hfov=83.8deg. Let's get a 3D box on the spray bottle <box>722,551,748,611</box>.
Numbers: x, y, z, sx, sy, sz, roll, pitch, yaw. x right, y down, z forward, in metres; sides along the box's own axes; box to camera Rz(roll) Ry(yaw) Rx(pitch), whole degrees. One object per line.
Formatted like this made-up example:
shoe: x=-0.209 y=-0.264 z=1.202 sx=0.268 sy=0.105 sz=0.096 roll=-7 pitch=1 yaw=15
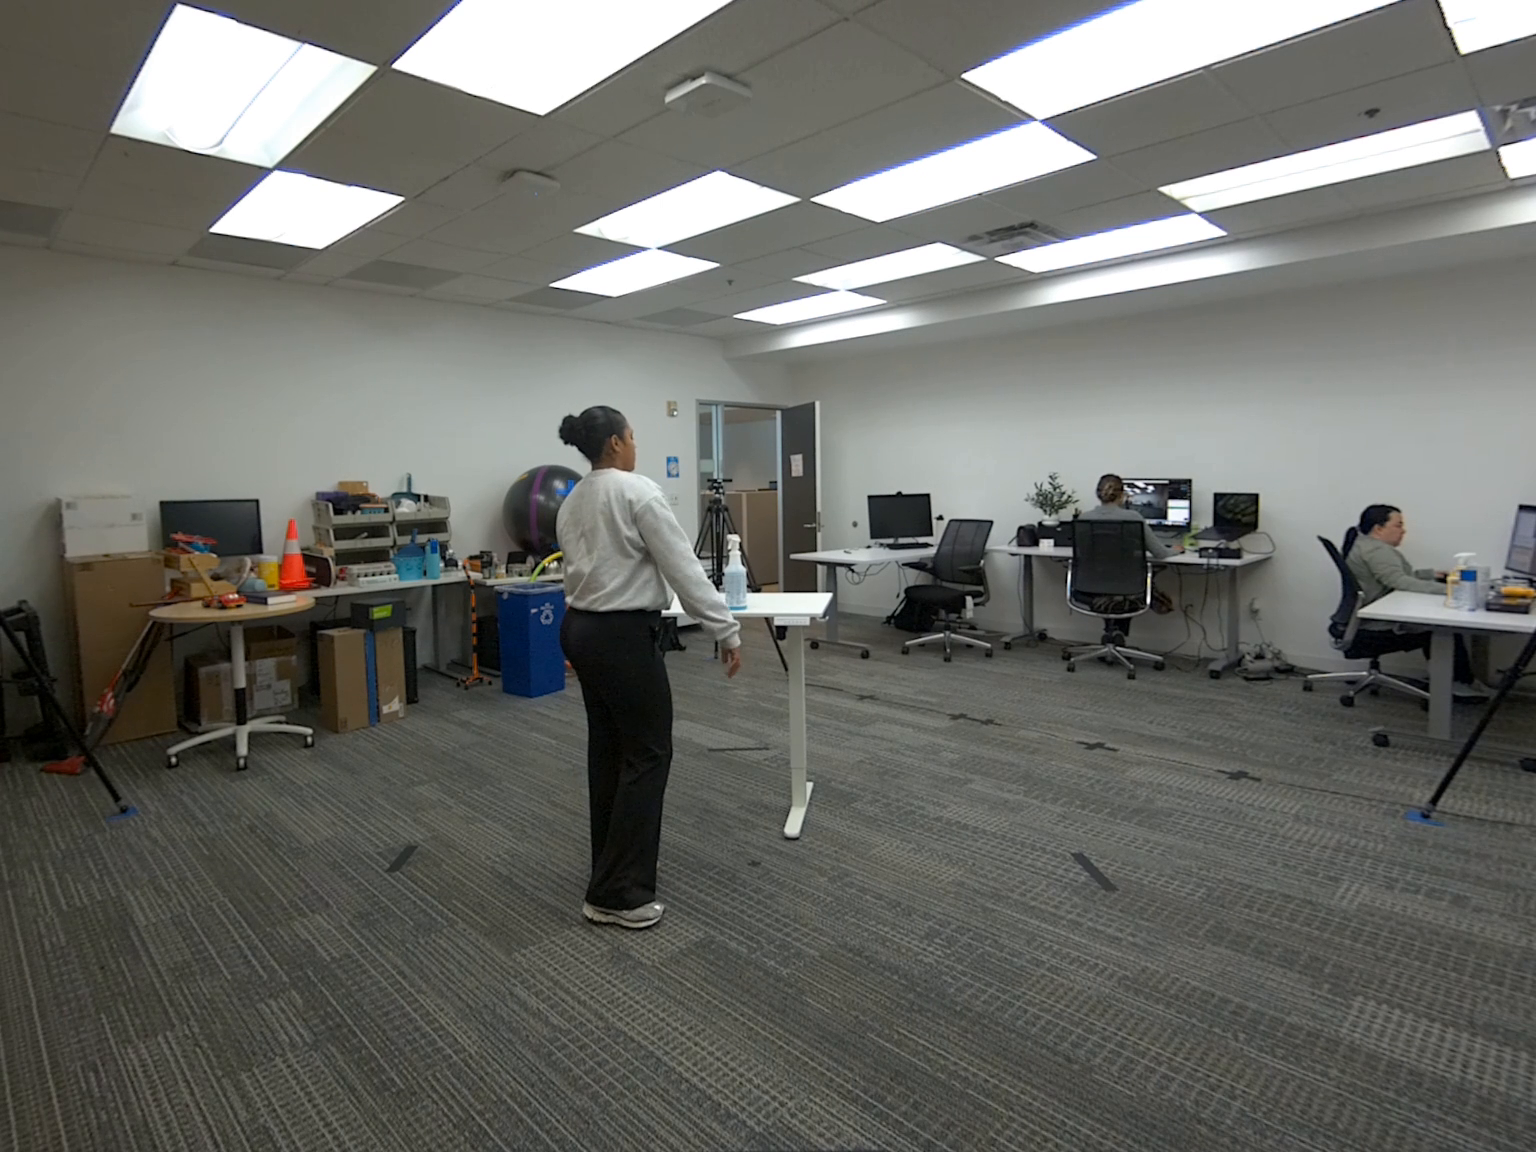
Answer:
spray bottle: x=-0.128 y=-0.015 z=3.390 sx=0.088 sy=0.296 sz=0.089 roll=-5 pitch=5 yaw=-37
